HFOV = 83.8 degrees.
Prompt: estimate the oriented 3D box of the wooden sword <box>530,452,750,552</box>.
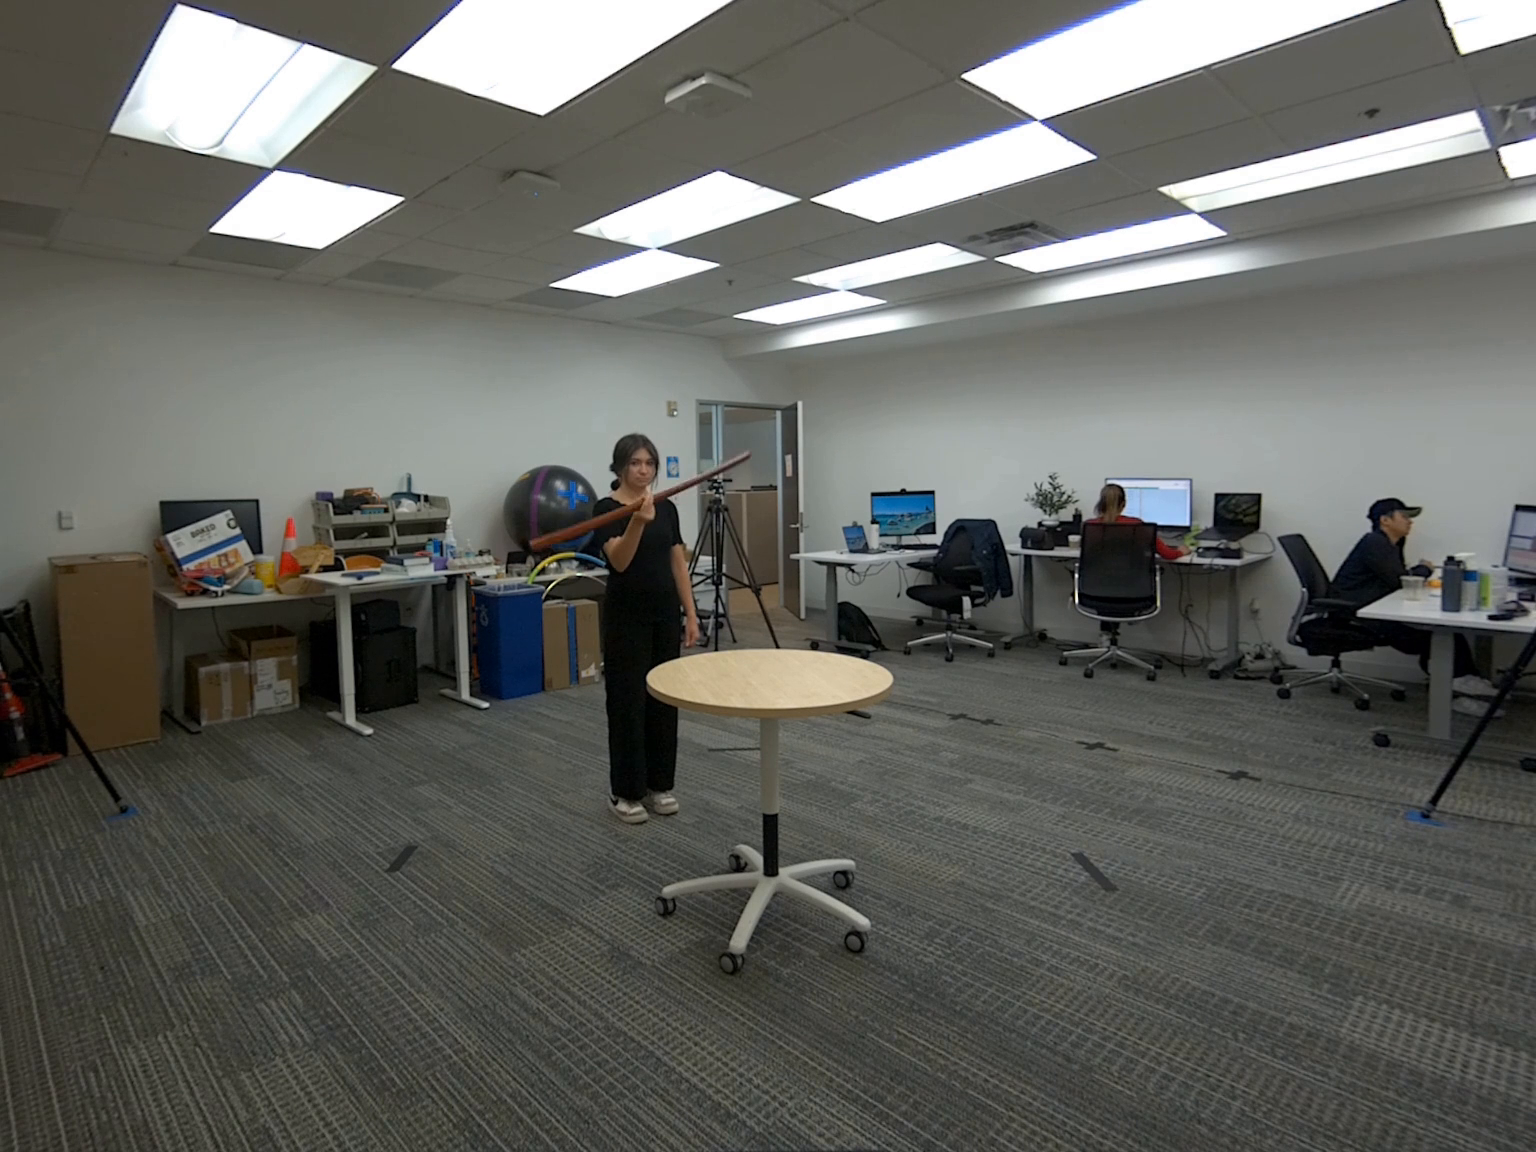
[{"bbox_3d":[-0.460,-0.273,3.170,1.012,0.052,0.024,-28,-16,-31],"label":"wooden sword"}]
